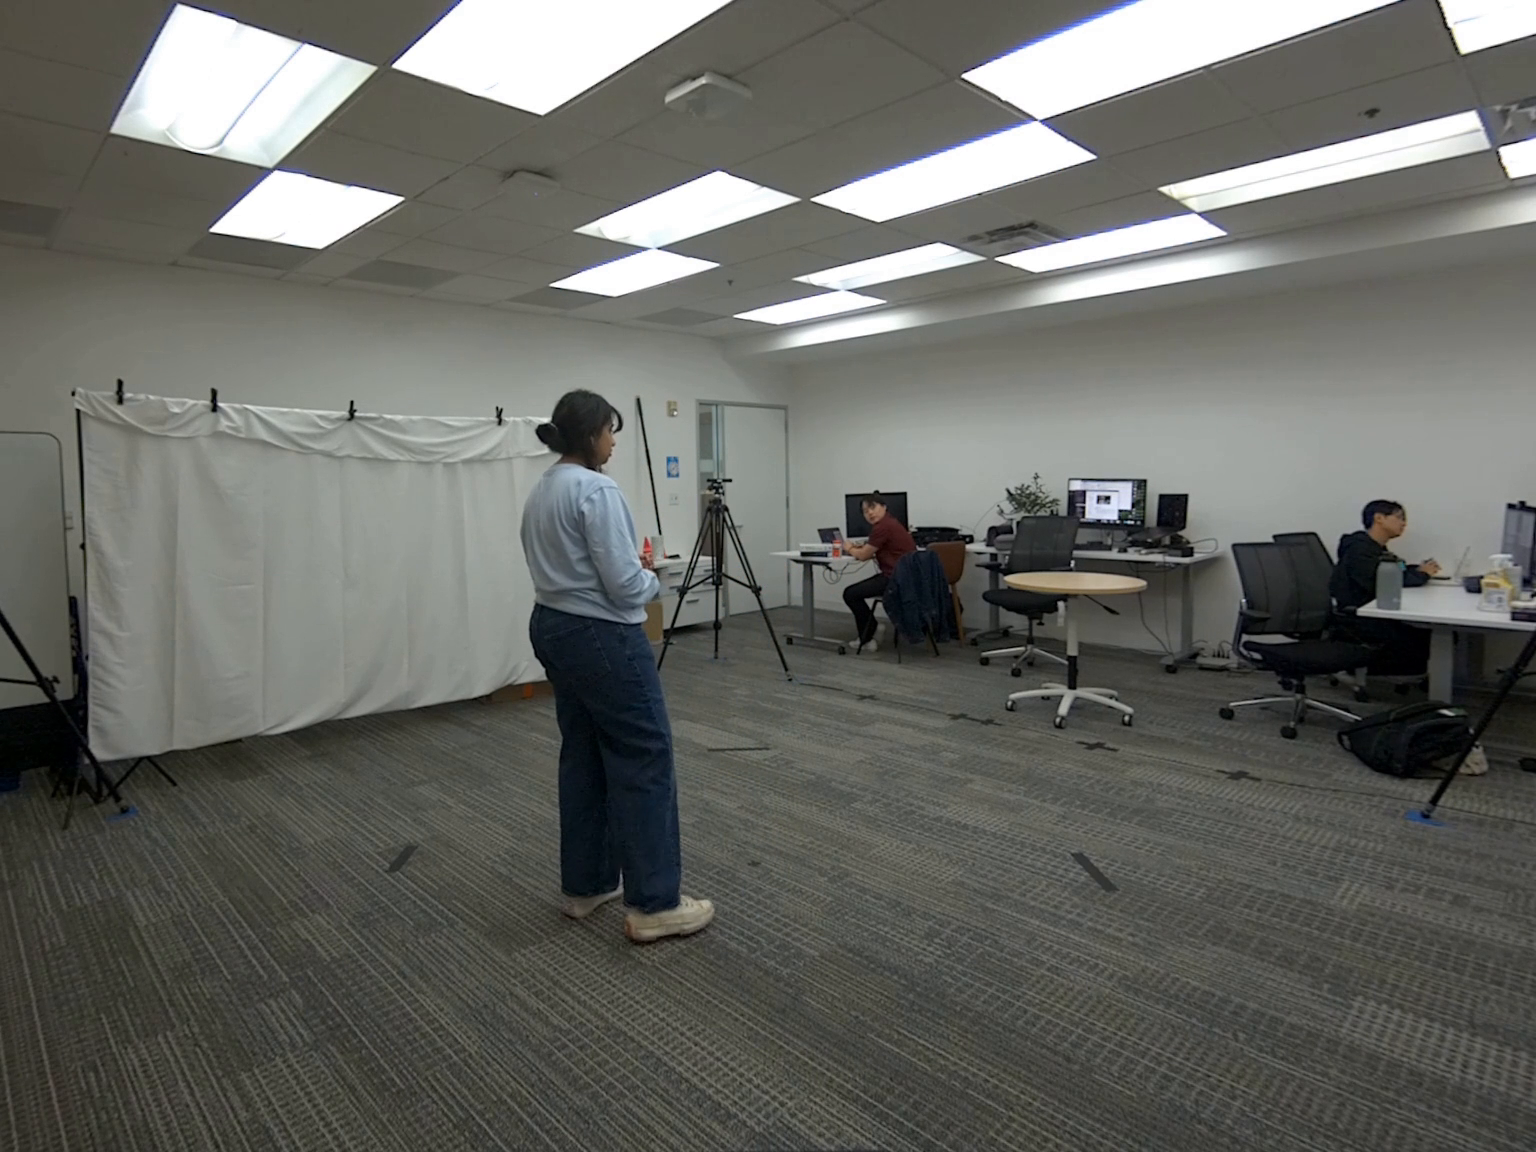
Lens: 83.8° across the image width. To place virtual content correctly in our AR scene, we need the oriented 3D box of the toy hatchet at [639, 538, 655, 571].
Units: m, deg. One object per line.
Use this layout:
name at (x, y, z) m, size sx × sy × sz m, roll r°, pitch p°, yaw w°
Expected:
toy hatchet at (-0.418, -0.005, 2.955) m, size 0.030 × 0.127 × 0.277 m, roll -1°, pitch 45°, yaw 2°
